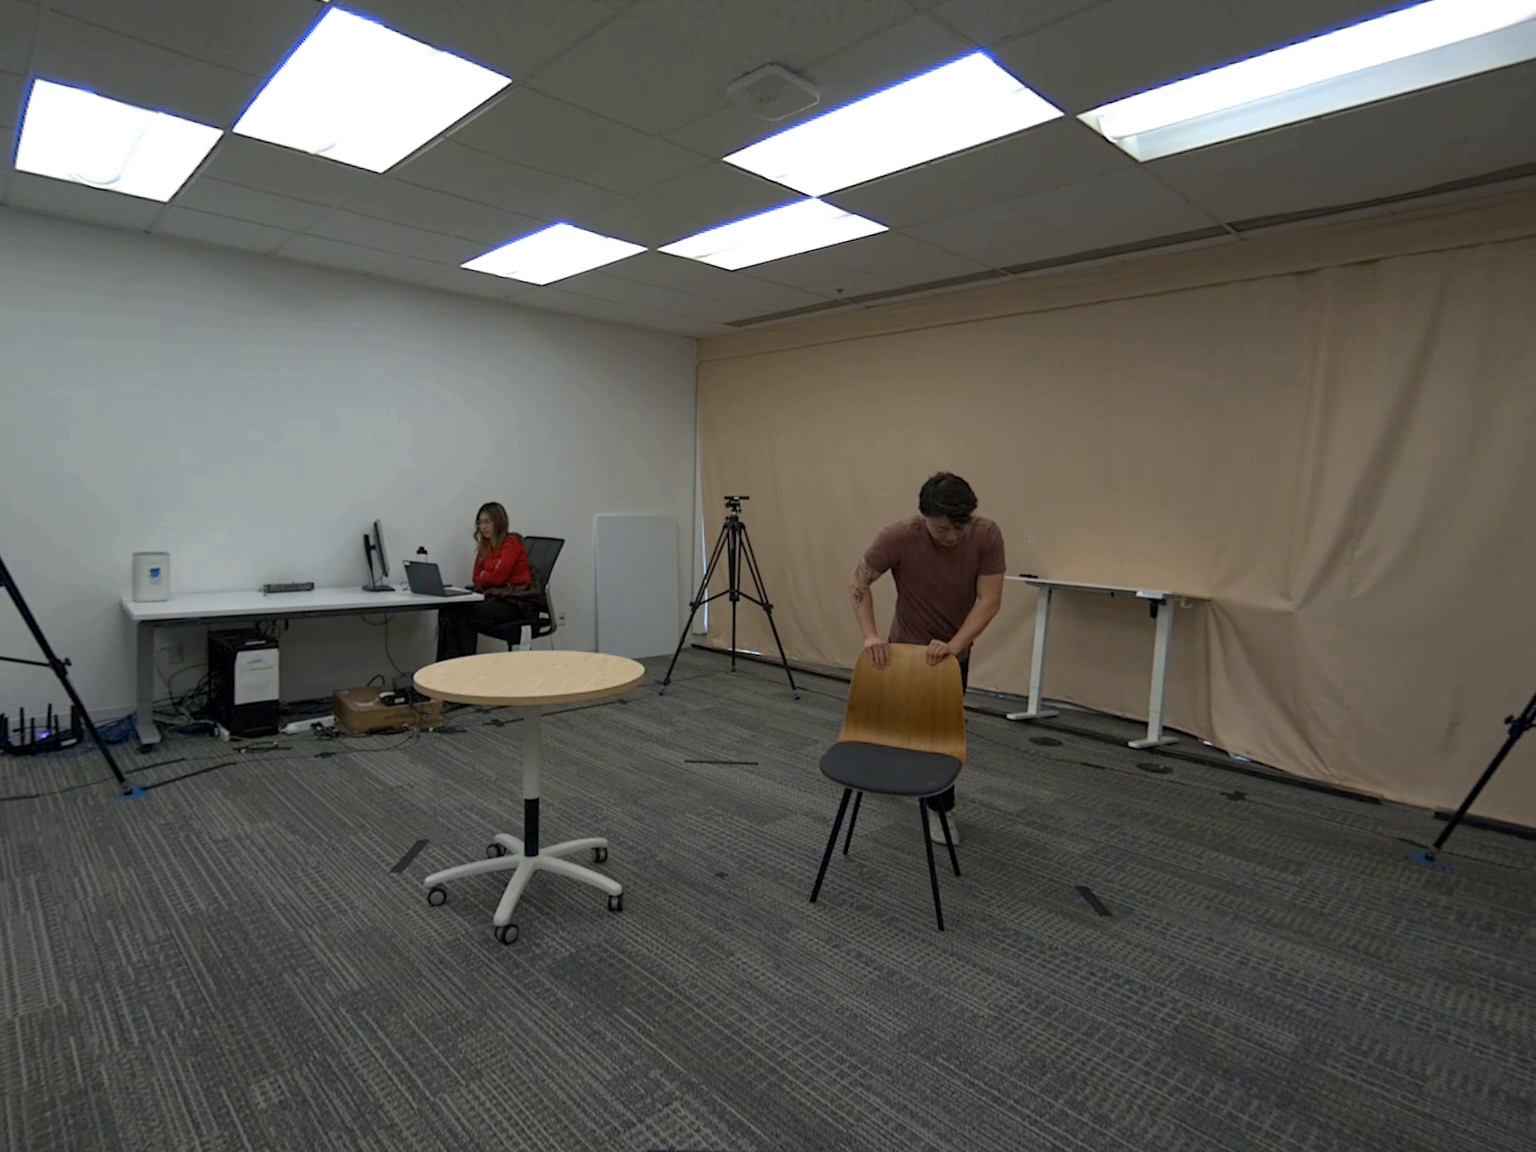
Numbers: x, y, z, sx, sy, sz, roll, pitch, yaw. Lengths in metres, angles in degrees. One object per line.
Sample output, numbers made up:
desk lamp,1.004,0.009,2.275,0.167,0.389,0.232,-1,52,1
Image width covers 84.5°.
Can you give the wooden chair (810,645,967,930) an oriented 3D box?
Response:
wooden chair,0.431,0.701,2.989,0.486,0.878,0.514,2,-1,22
